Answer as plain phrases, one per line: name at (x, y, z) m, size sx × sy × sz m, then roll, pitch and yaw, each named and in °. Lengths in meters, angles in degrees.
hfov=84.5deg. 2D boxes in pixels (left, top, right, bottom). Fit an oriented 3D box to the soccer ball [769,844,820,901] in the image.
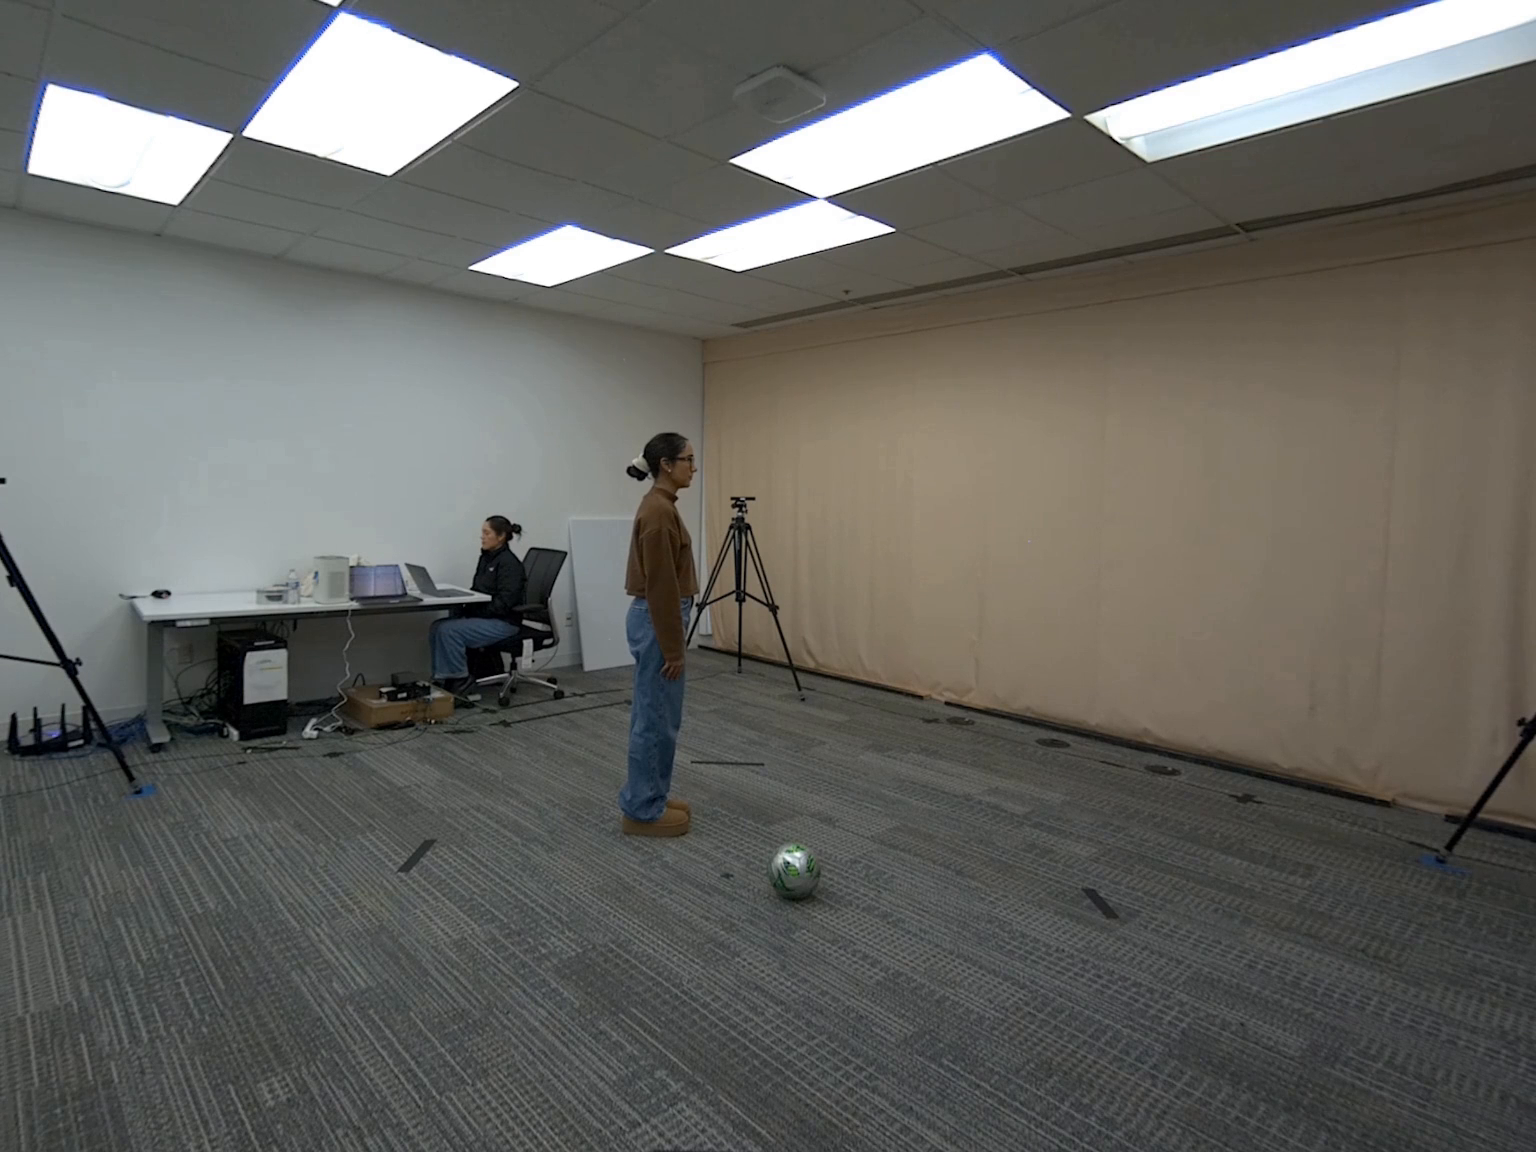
soccer ball at (0.086, 1.033, 2.949) m, size 0.187 × 0.187 × 0.188 m, roll 1°, pitch 4°, yaw -1°
